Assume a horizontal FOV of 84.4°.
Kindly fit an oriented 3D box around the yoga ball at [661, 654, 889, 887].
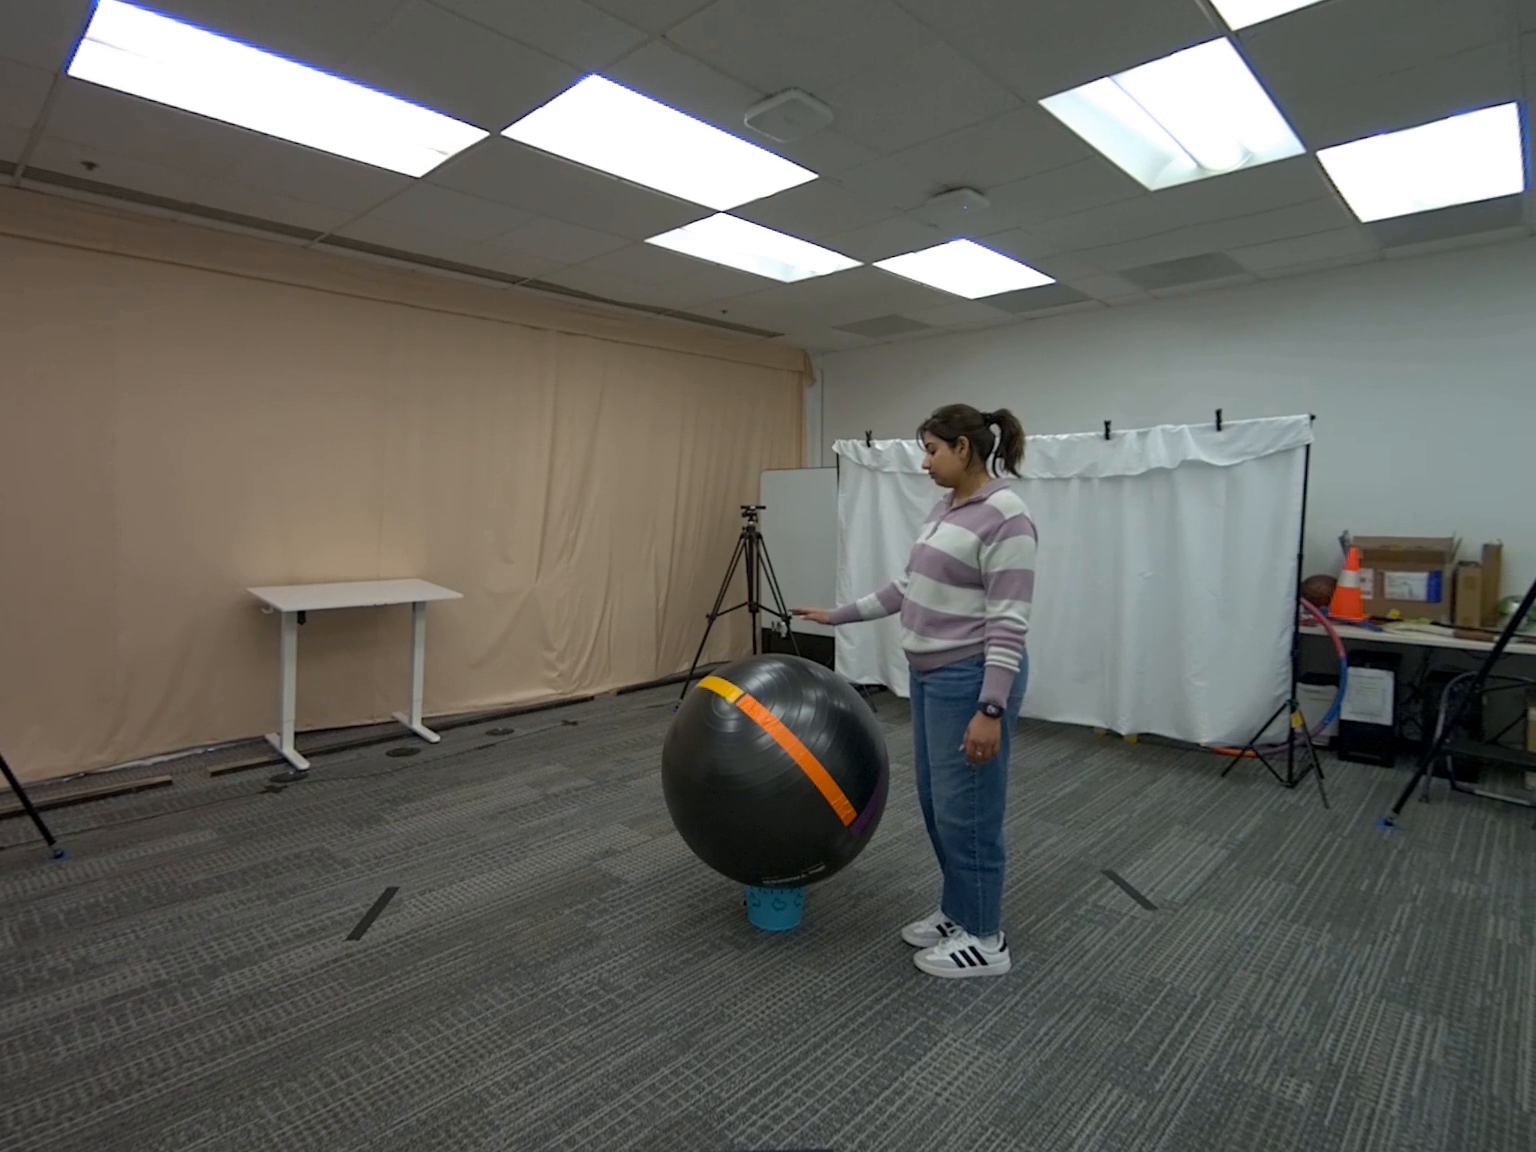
[{"bbox_3d":[0.022,0.648,2.831,0.757,0.756,0.760,0,4,-2],"label":"yoga ball"}]
